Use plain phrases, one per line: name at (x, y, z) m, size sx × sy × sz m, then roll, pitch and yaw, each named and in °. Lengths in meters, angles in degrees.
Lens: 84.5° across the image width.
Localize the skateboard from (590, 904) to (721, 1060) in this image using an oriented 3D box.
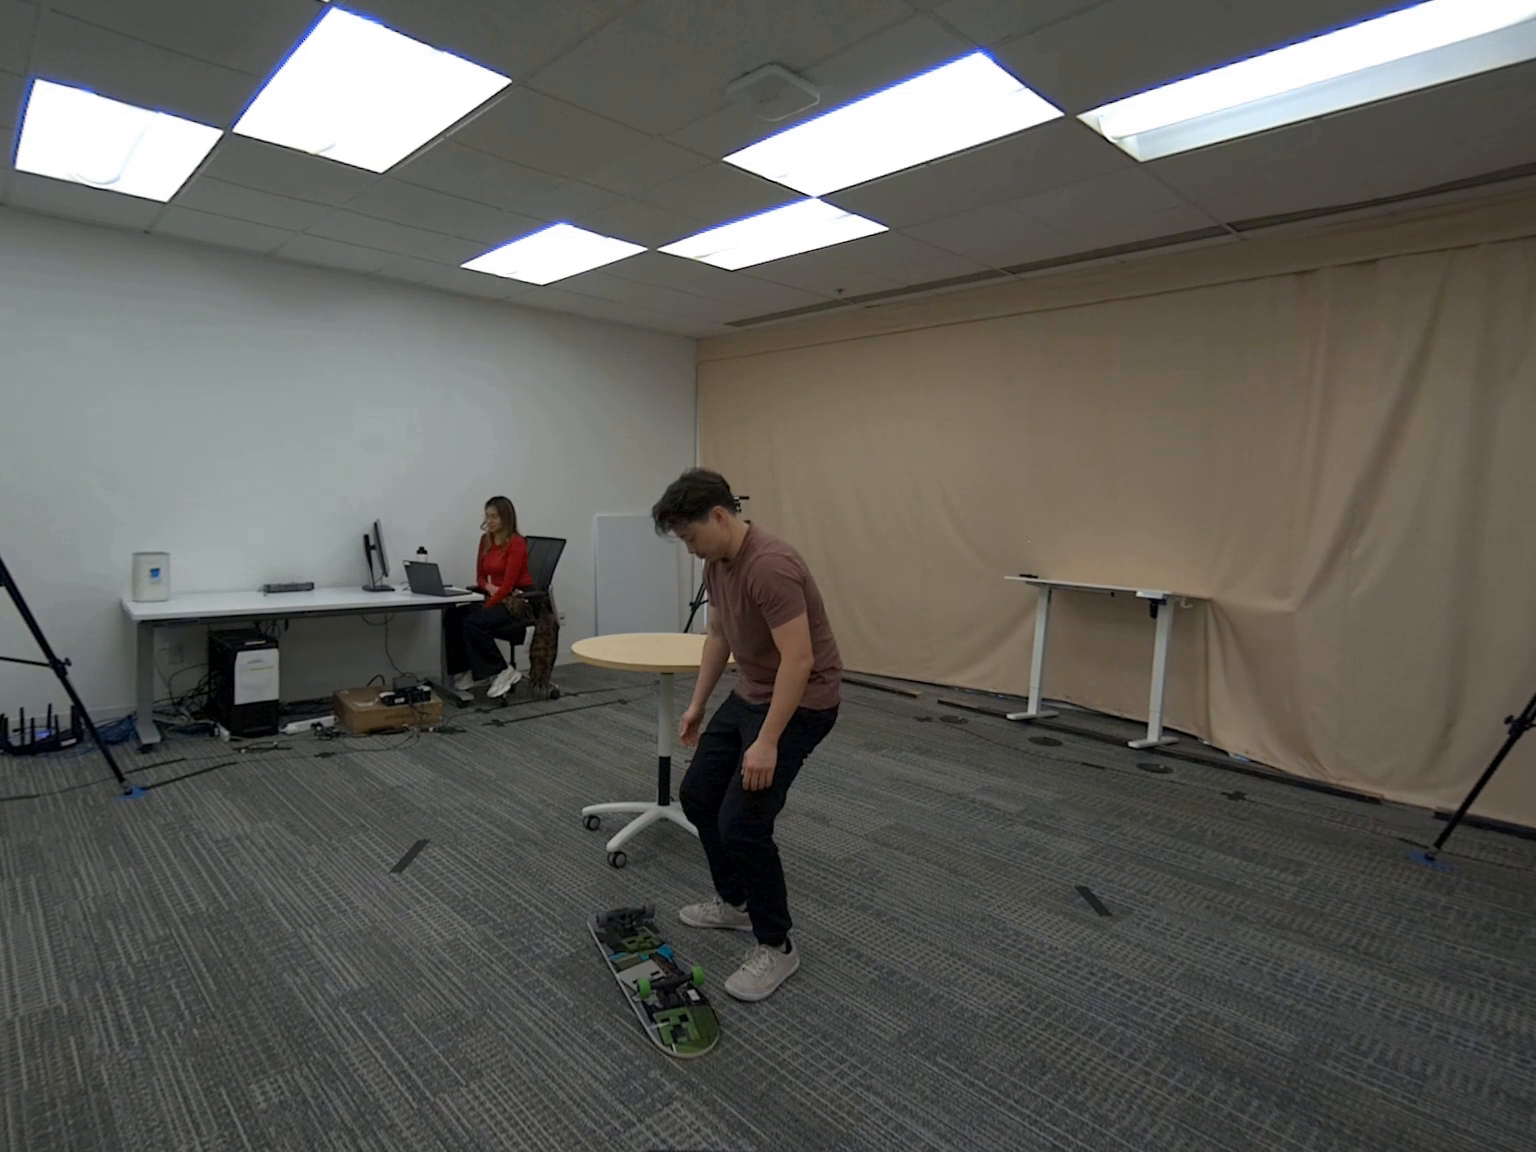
skateboard at (-0.355, 1.101, 2.450) m, size 0.190 × 0.110 × 0.802 m, roll -1°, pitch 6°, yaw -26°
